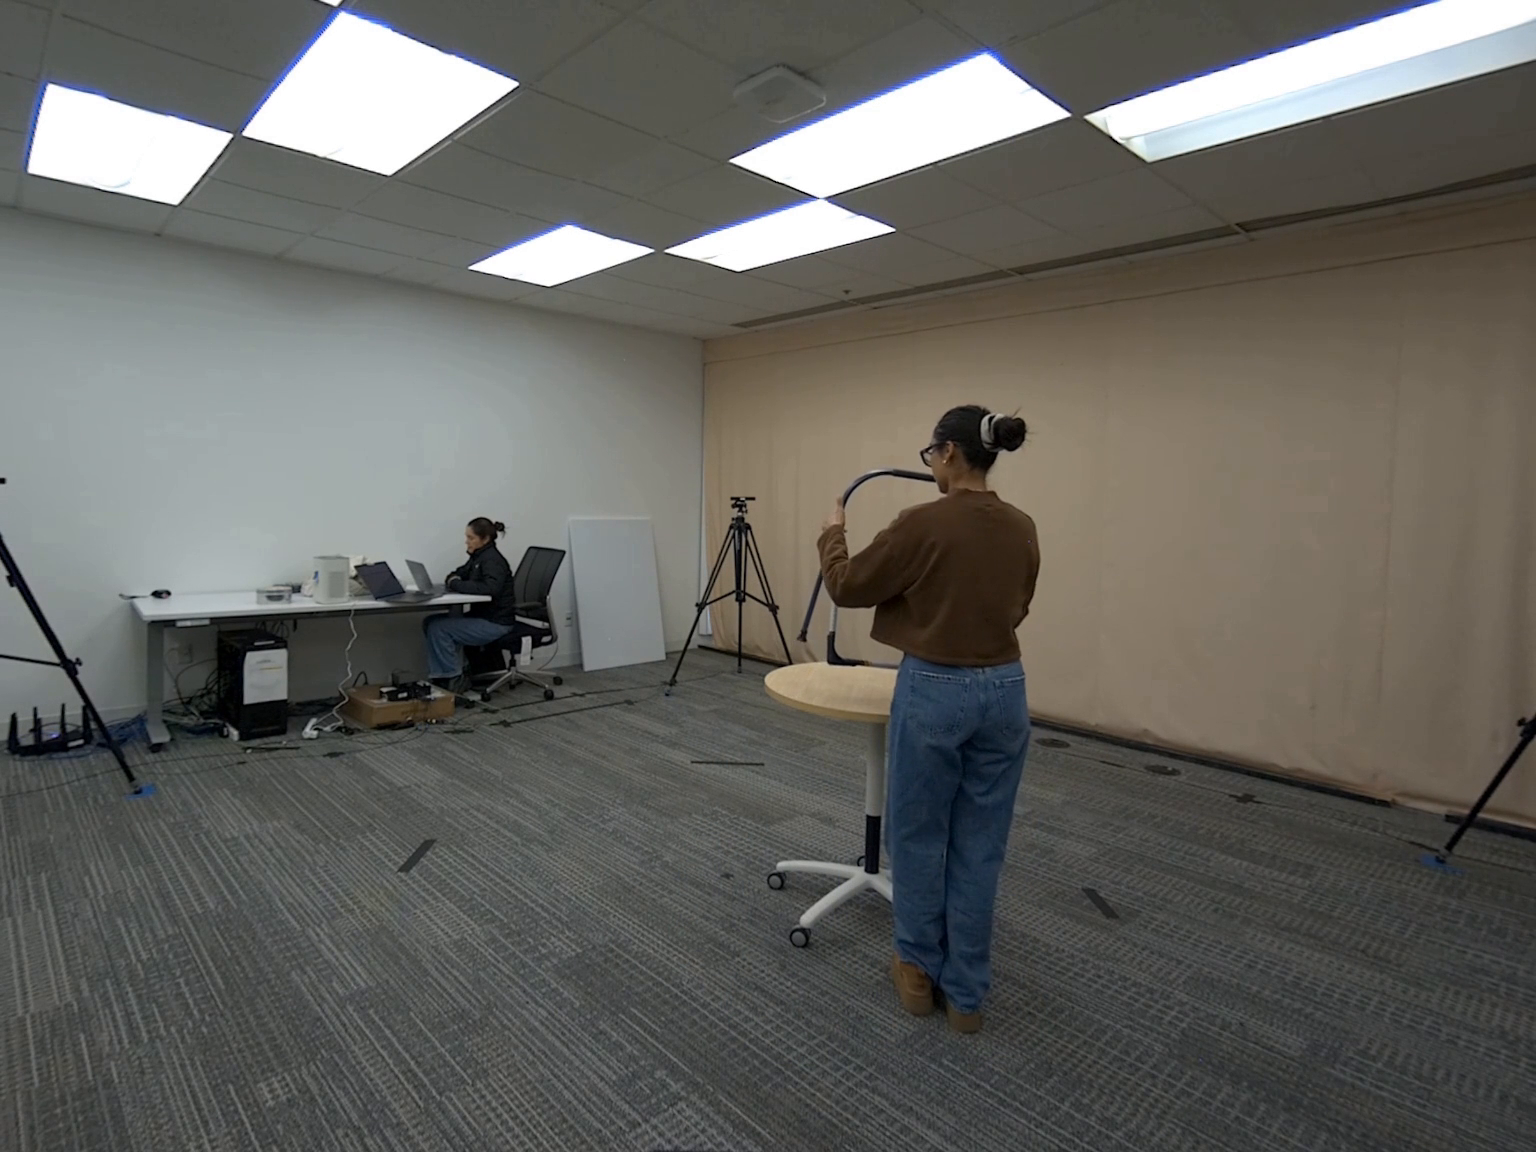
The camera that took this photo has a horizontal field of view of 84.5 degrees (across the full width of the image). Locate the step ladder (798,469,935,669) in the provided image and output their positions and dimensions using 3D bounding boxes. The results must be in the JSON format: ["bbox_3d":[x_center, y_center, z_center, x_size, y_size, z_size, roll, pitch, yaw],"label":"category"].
[{"bbox_3d":[0.384,-0.019,2.669,0.425,0.604,0.354,6,4,-15],"label":"step ladder"}]
